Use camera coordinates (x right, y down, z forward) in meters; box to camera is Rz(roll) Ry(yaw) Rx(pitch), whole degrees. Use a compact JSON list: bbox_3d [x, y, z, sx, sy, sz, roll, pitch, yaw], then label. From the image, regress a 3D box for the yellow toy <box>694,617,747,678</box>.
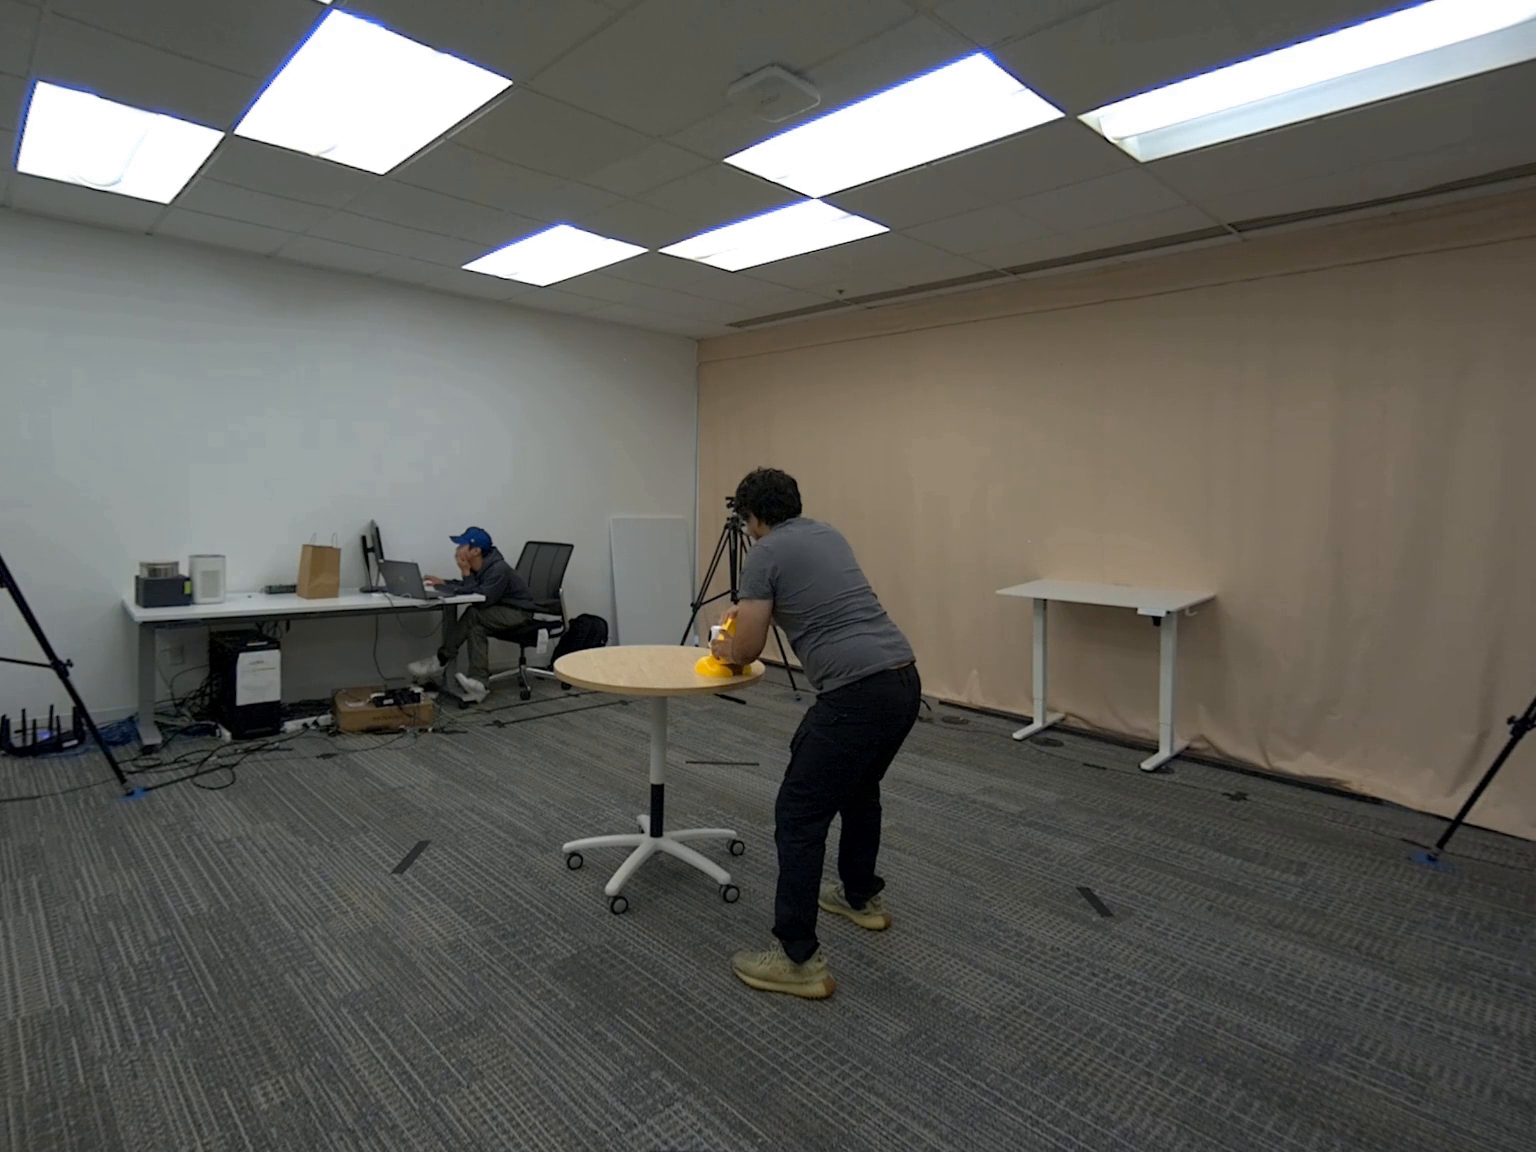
[{"bbox_3d":[-0.159,0.227,2.982,0.200,0.230,0.198,-2,5,-42],"label":"yellow toy"}]
